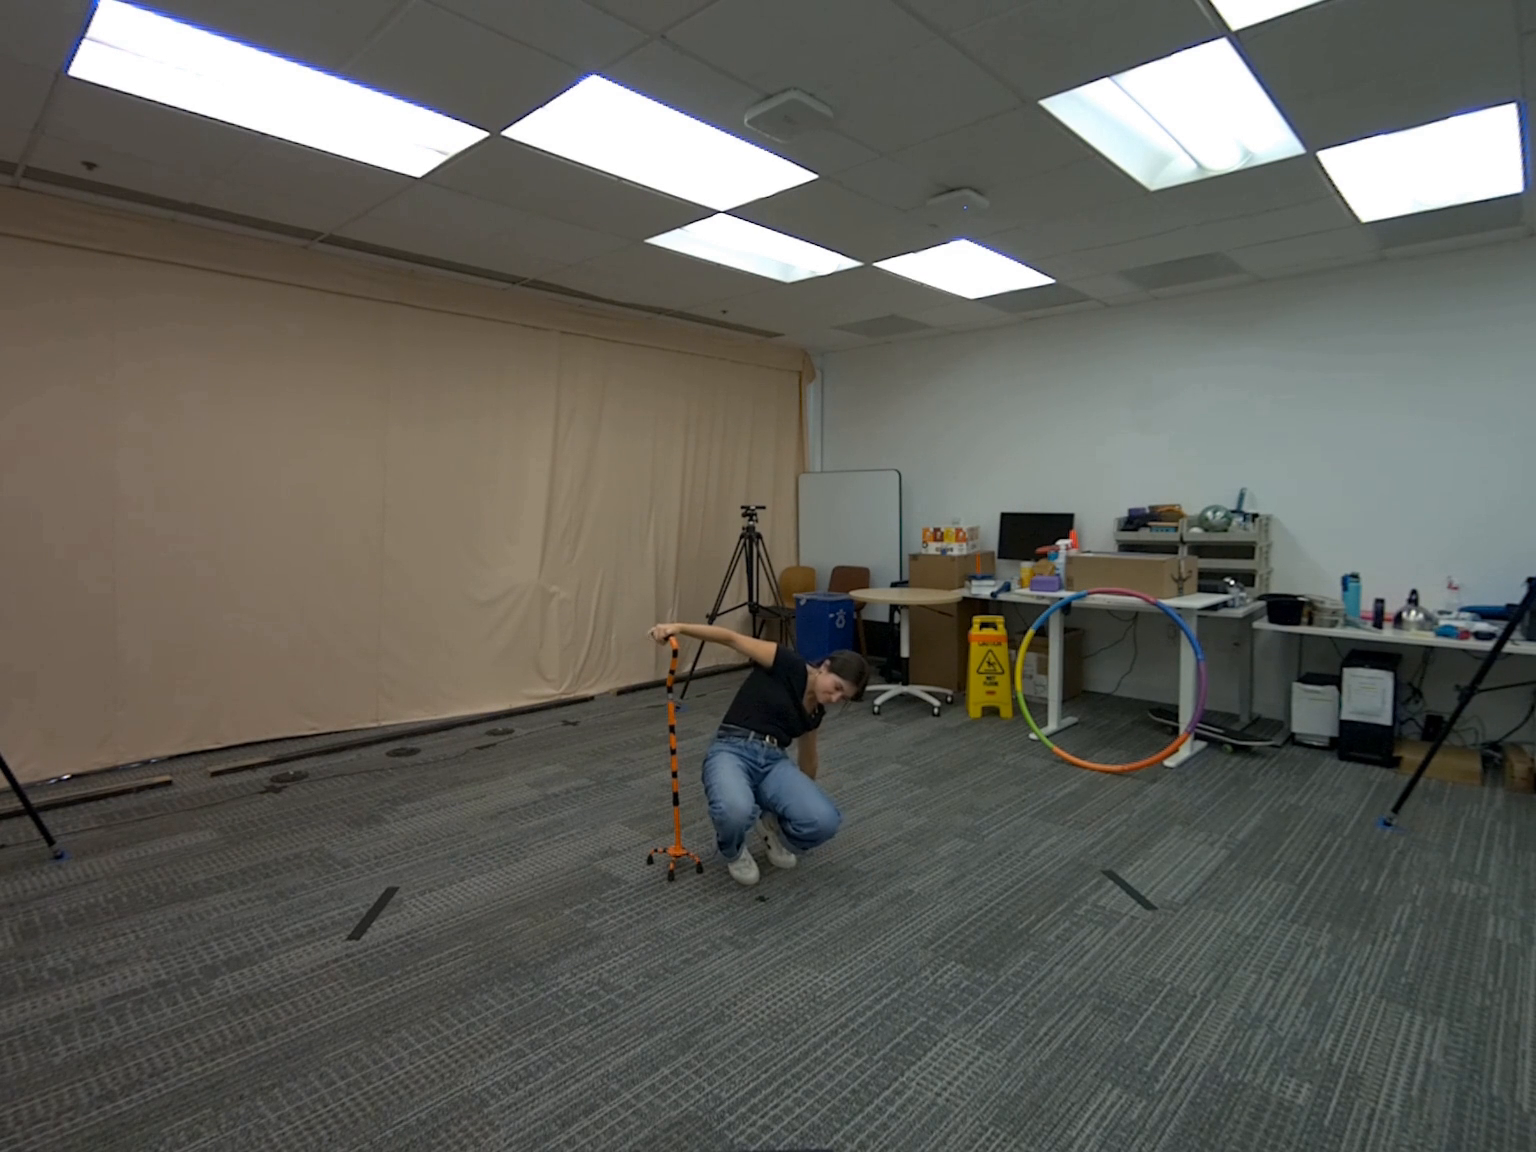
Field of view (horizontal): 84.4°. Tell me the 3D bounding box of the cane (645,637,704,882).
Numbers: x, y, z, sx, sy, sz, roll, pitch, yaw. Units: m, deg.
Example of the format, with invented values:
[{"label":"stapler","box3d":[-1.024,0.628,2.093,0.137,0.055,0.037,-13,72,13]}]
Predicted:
[{"label":"cane","box3d":[-0.373,0.677,3.229,0.147,0.906,0.213,-4,3,-34]}]
